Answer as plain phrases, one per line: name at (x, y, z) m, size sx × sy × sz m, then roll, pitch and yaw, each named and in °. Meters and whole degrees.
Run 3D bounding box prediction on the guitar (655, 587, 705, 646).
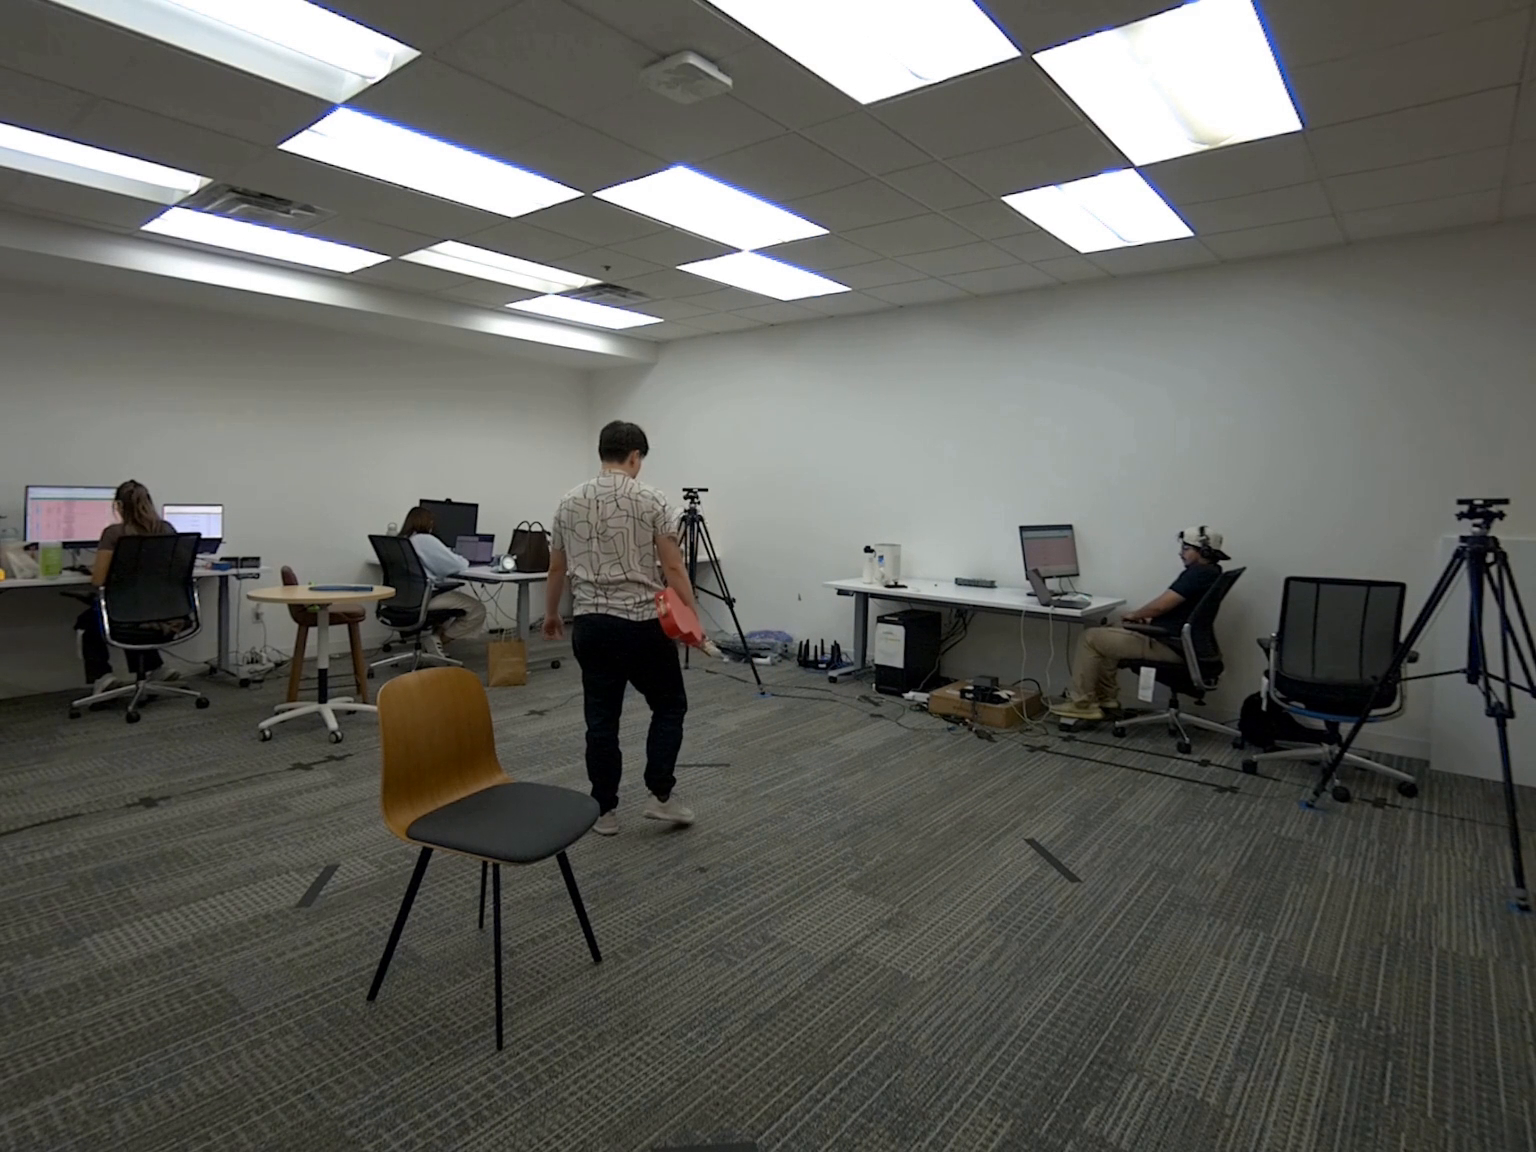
guitar at (-0.322, 0.194, 3.390) m, size 0.071 × 0.198 × 0.481 m, roll -24°, pitch -23°, yaw 12°
